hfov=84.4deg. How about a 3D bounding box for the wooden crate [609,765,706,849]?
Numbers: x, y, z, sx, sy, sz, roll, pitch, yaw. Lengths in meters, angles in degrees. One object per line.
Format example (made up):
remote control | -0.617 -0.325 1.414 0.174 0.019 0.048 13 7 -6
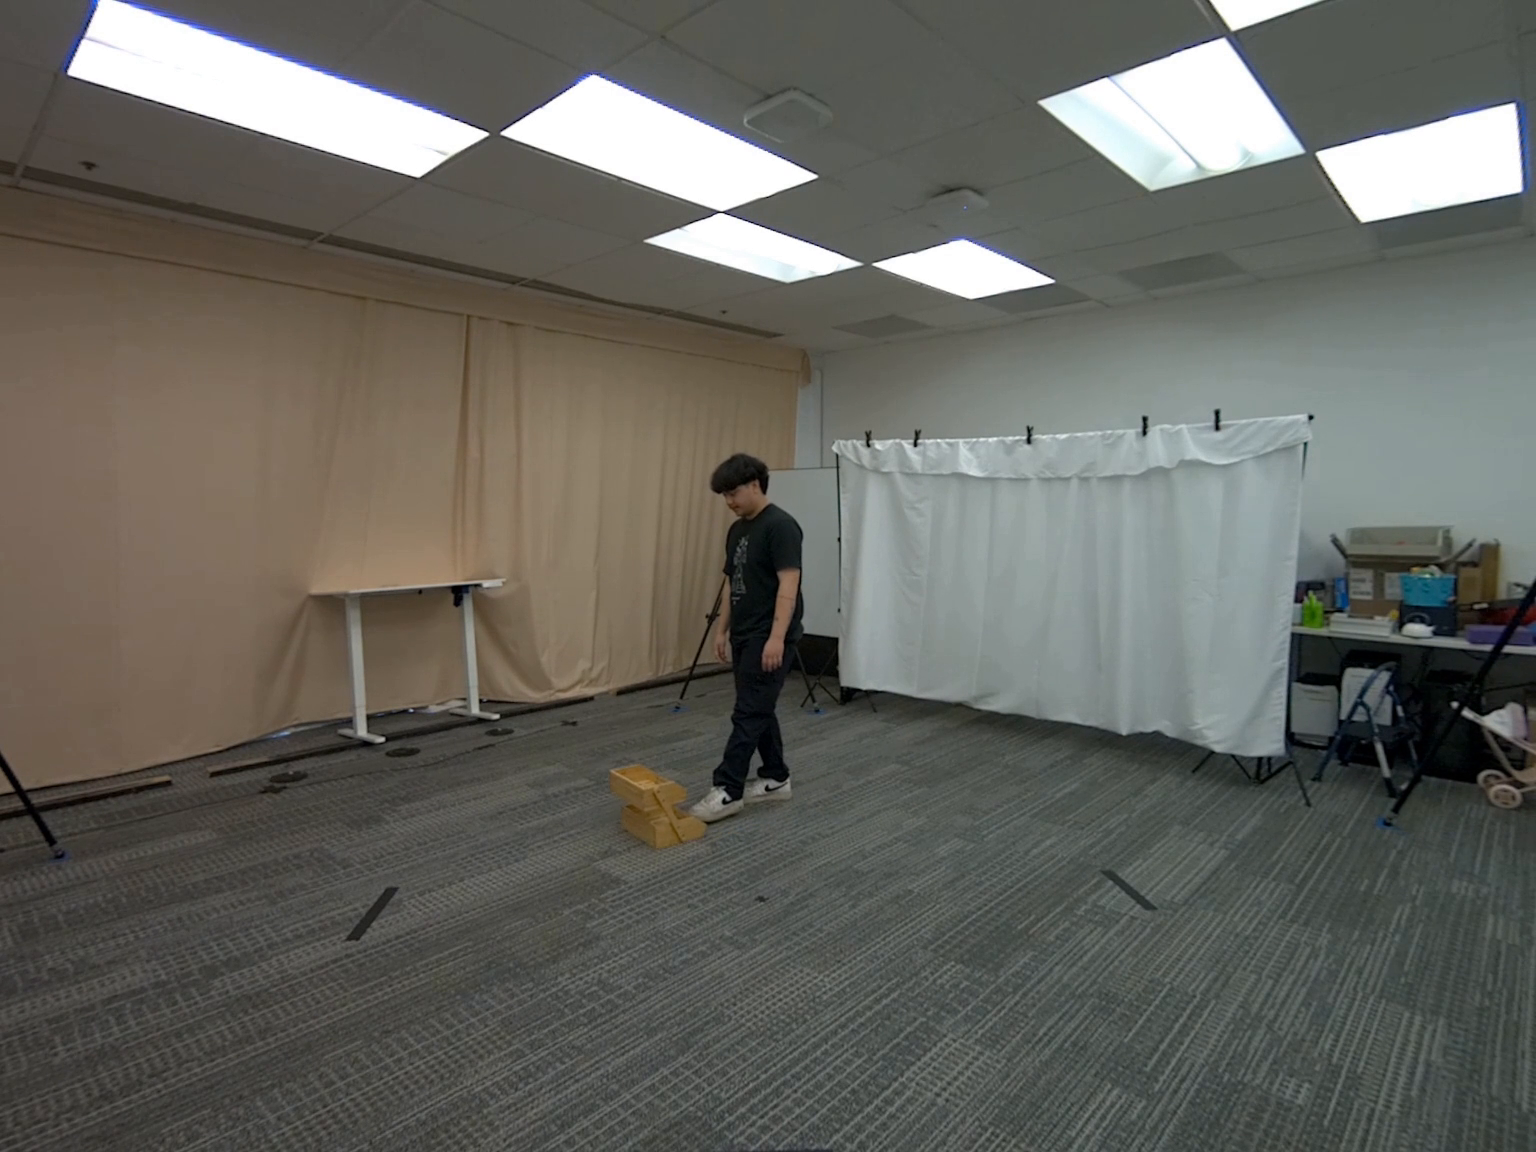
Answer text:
wooden crate | -0.469 0.965 3.597 0.293 0.272 0.335 -4 5 -36
